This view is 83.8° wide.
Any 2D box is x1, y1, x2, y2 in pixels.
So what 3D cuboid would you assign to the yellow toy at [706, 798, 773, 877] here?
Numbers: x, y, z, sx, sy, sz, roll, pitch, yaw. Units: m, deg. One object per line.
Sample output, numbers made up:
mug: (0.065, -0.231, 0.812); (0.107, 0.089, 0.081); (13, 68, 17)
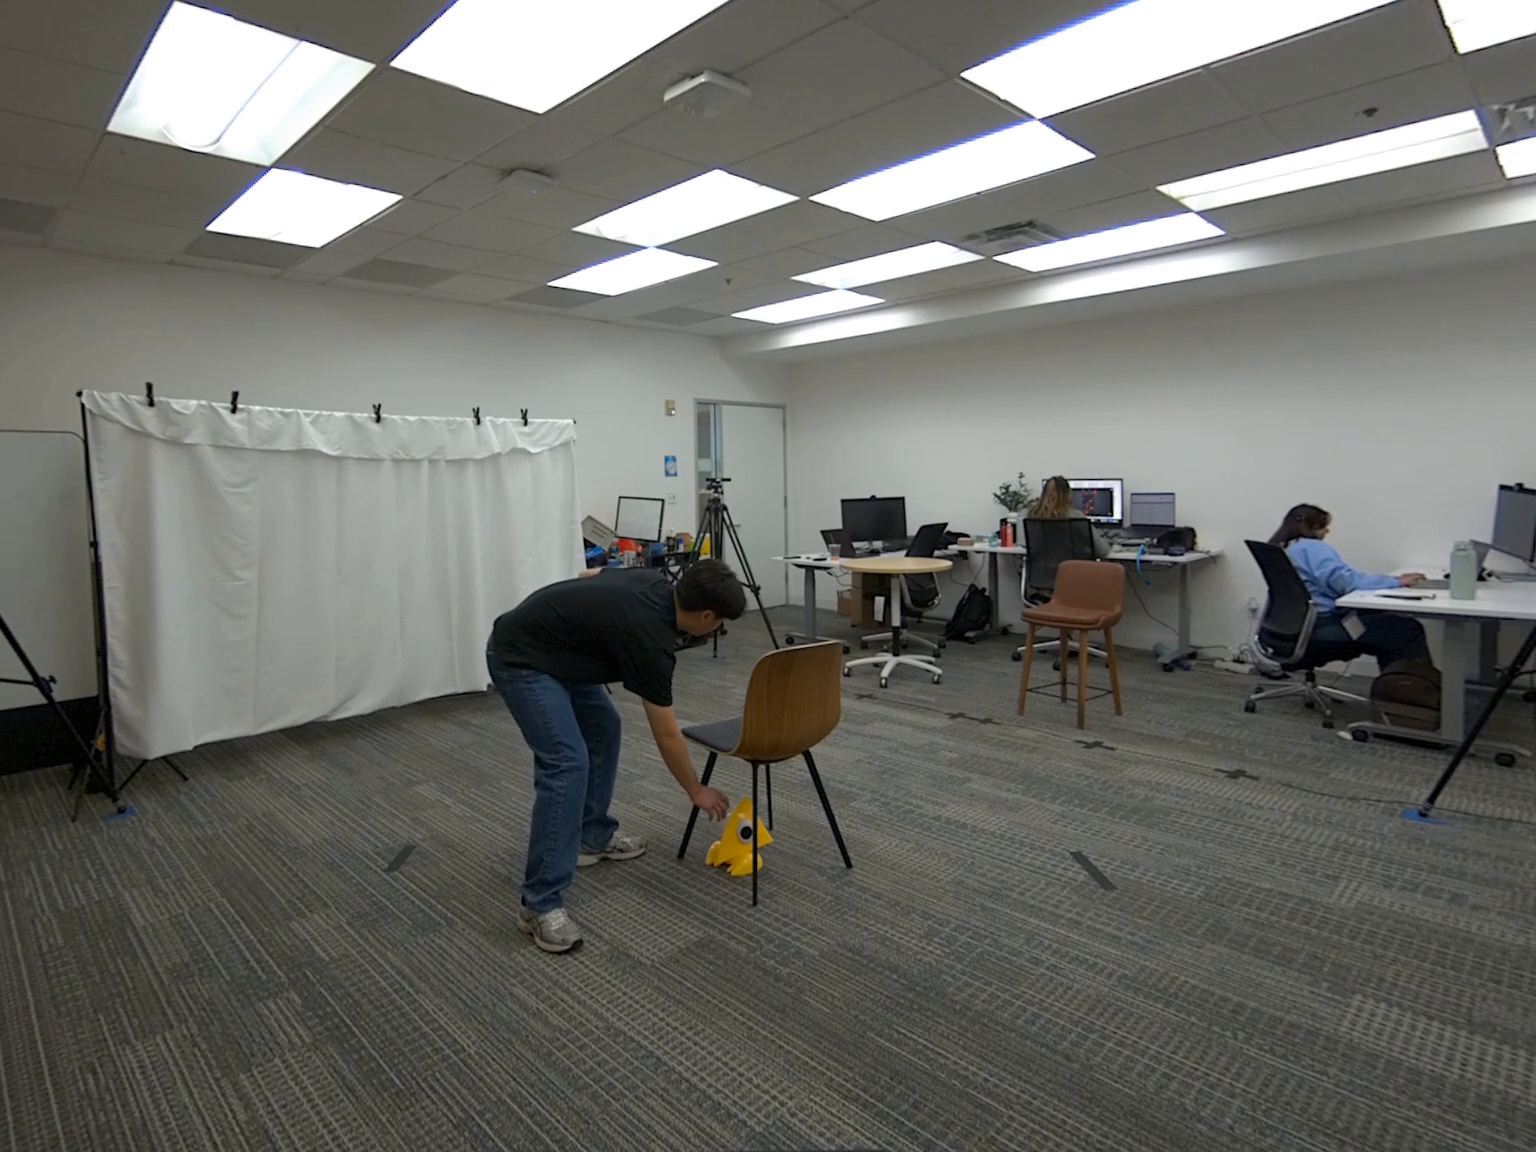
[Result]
yellow toy: (-0.116, 0.921, 3.101); (0.211, 0.229, 0.188); (5, 8, 44)
